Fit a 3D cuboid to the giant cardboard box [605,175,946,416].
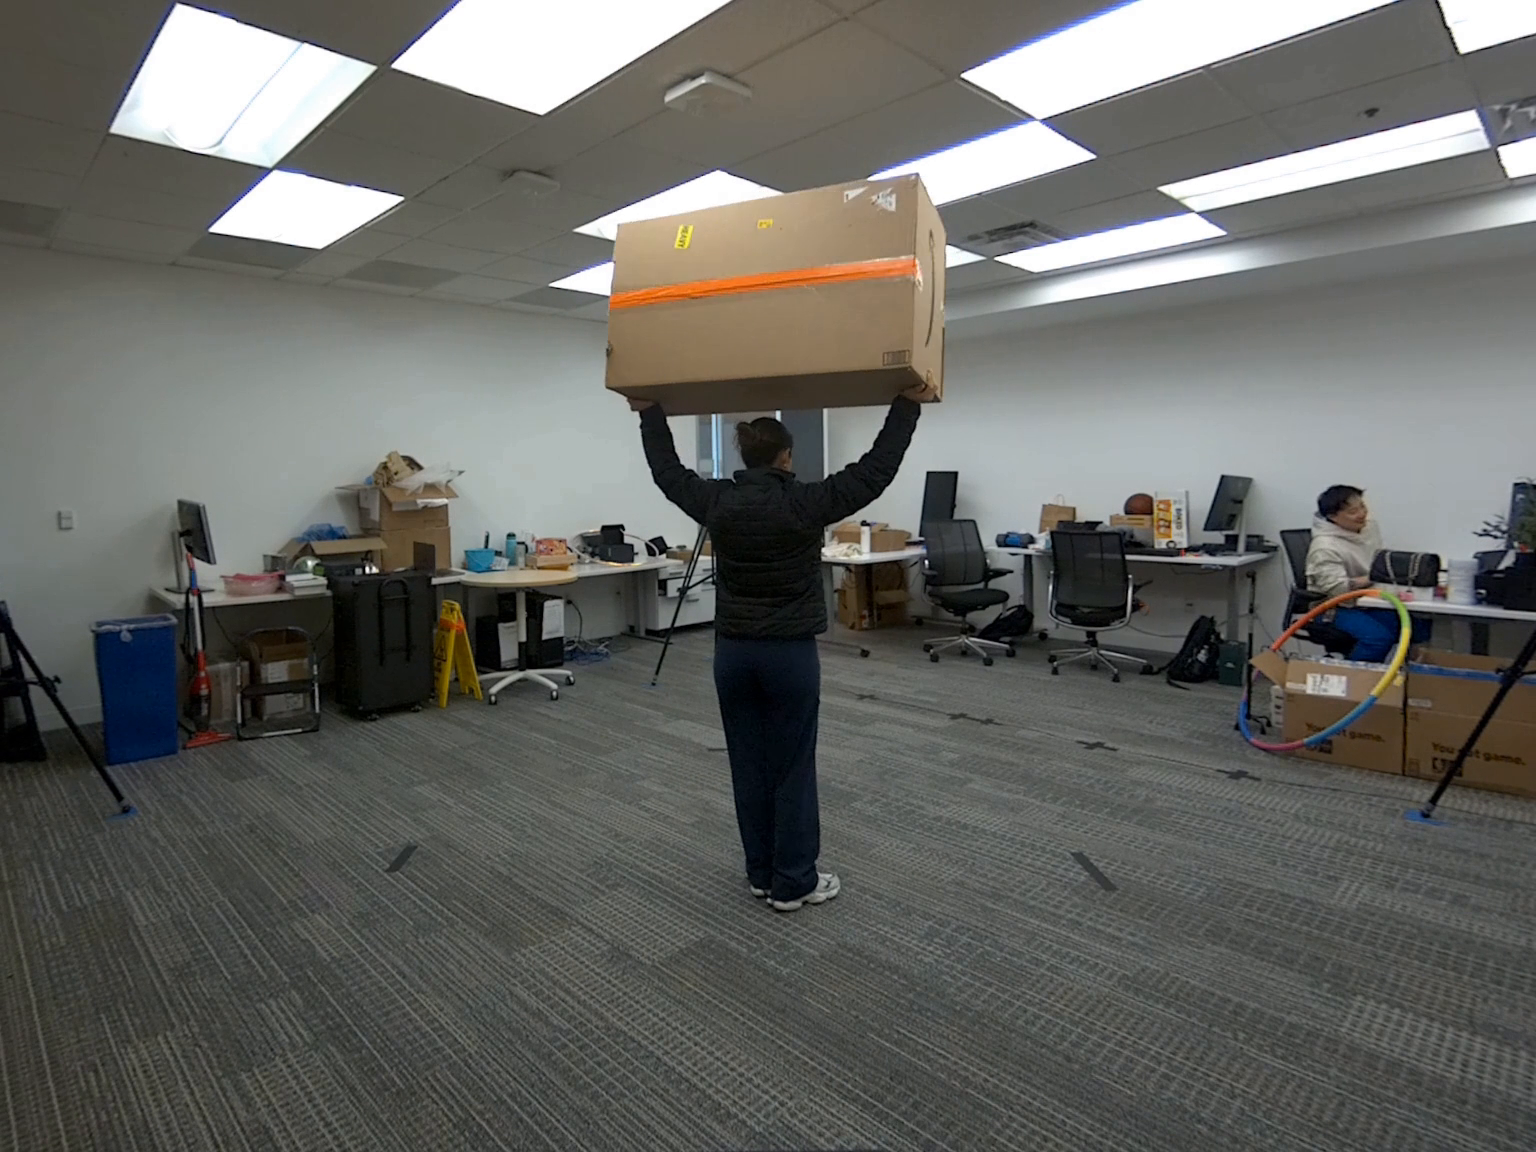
[{"bbox_3d":[0.019,-0.867,2.823,1.050,0.586,0.435,1,-4,24],"label":"giant cardboard box"}]
